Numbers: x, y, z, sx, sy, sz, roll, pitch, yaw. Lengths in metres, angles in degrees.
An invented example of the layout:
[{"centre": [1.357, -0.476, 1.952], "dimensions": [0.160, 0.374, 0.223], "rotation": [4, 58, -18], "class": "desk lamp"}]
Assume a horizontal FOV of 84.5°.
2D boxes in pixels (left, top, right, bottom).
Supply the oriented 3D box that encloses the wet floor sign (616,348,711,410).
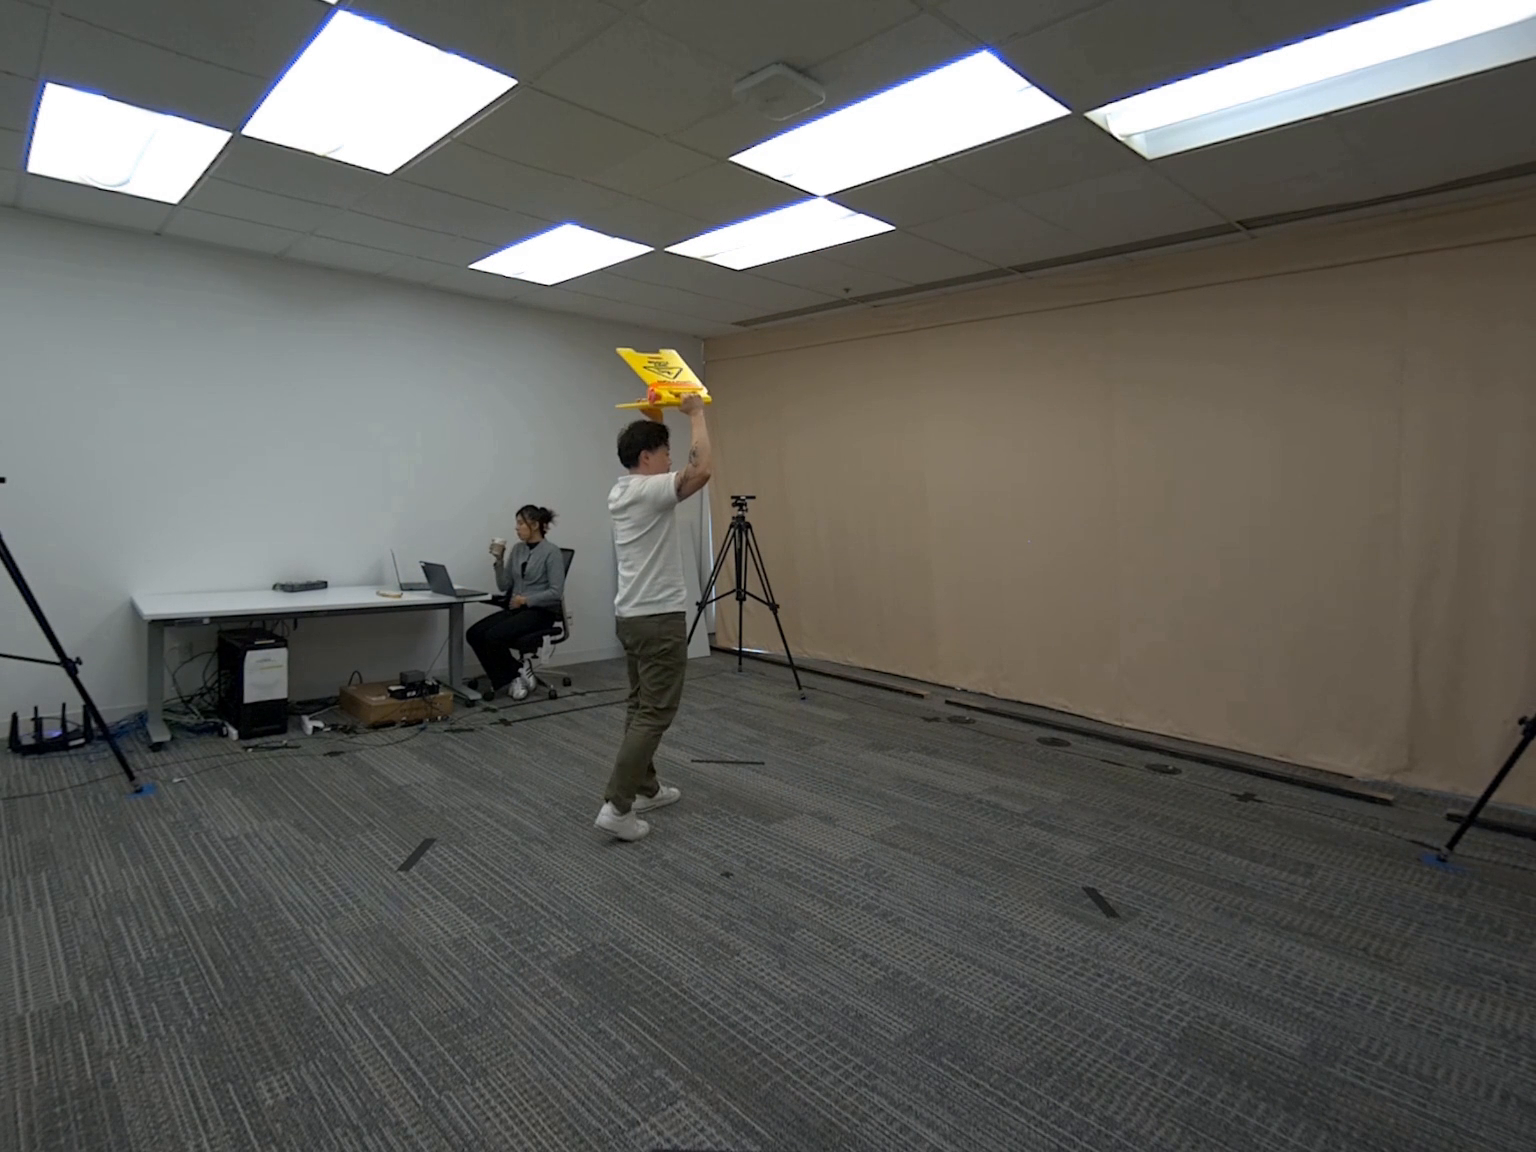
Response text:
[{"centre": [-0.451, -0.802, 3.613], "dimensions": [0.278, 0.286, 0.664], "rotation": [-3, 21, -22], "class": "wet floor sign"}]
